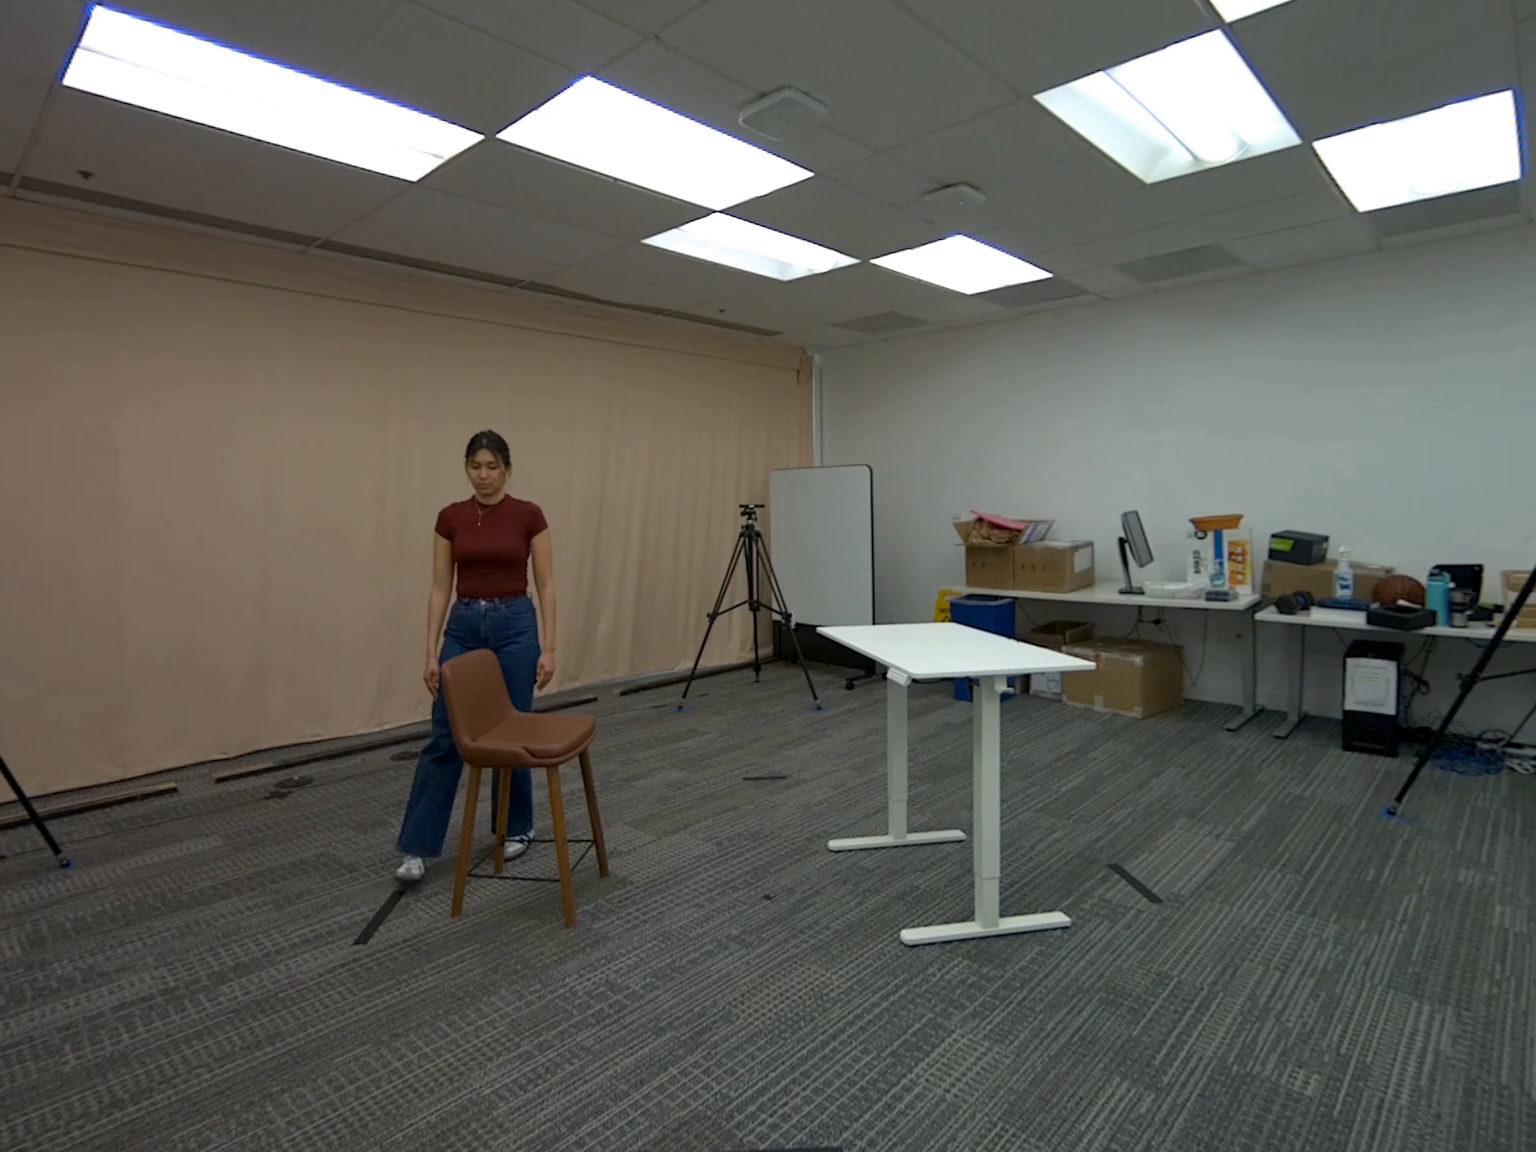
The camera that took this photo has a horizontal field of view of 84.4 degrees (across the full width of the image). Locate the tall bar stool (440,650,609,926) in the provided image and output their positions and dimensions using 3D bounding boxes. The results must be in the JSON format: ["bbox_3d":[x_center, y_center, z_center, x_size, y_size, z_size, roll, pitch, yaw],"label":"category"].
[{"bbox_3d":[-0.865,0.728,3.012,0.472,0.888,0.453,-3,3,8],"label":"tall bar stool"}]
